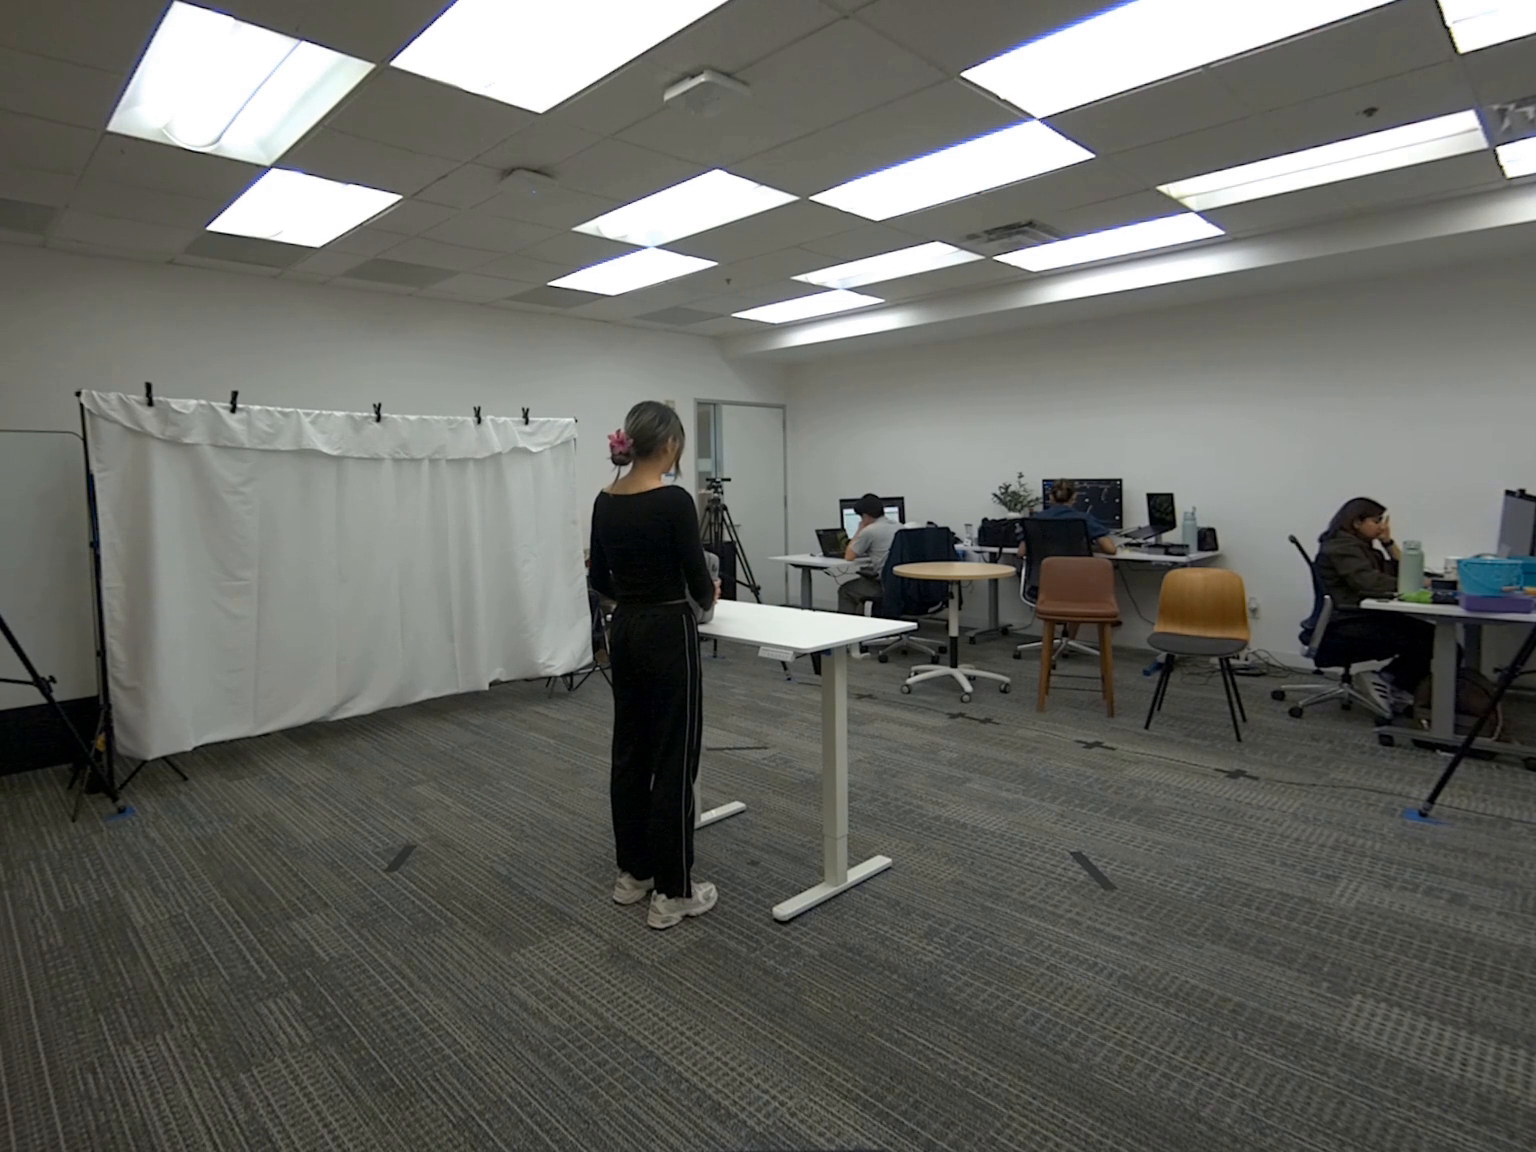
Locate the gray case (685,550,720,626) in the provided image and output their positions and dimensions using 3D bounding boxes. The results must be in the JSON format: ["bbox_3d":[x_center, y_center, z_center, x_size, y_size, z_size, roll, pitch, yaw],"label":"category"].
[{"bbox_3d":[-0.303,0.035,3.099,0.264,0.262,0.101,2,-8,36],"label":"gray case"}]
